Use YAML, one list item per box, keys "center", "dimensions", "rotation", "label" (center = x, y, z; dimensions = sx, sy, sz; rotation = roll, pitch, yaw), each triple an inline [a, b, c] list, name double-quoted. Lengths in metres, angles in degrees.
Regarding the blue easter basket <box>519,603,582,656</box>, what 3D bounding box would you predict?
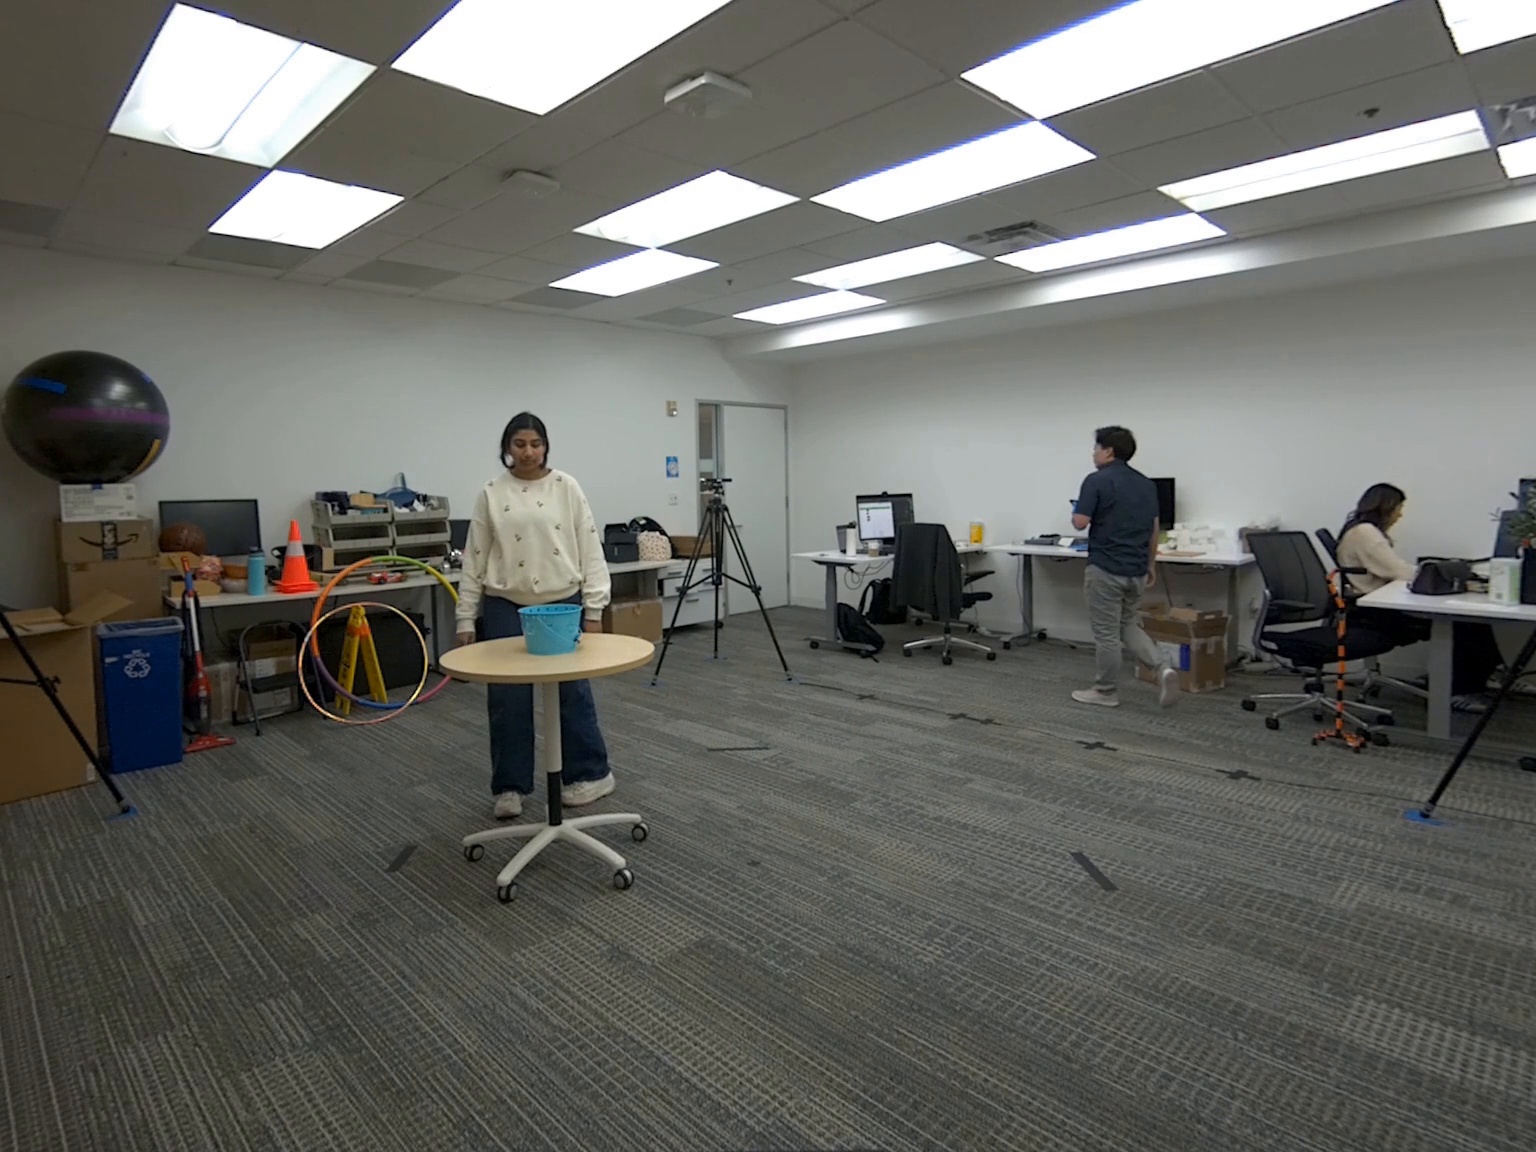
- center: [-0.805, 0.202, 3.136]
  dimensions: [0.243, 0.155, 0.244]
  rotation: [-2, 4, -2]
  label: "blue easter basket"
